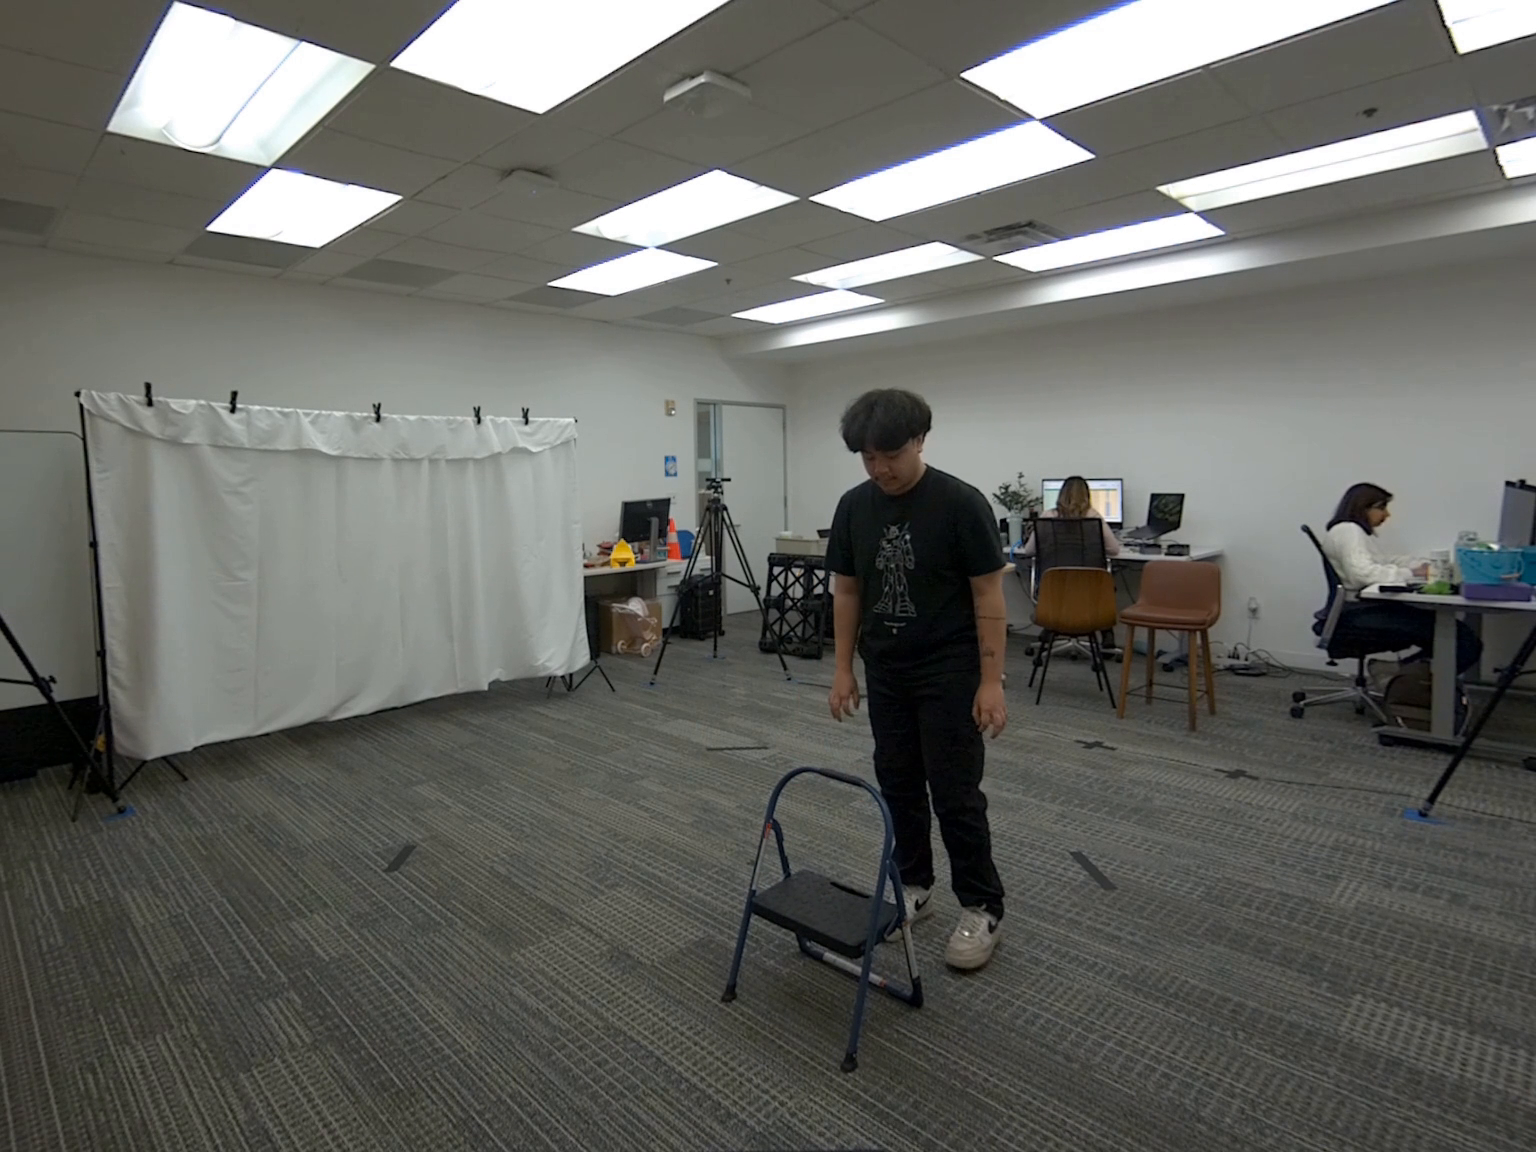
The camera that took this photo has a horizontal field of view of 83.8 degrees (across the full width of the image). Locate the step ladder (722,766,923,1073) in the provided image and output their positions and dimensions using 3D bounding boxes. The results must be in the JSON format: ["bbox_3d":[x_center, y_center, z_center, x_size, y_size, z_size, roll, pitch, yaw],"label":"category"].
[{"bbox_3d":[0.145,0.838,2.253,0.444,0.603,0.340,4,7,42],"label":"step ladder"}]
